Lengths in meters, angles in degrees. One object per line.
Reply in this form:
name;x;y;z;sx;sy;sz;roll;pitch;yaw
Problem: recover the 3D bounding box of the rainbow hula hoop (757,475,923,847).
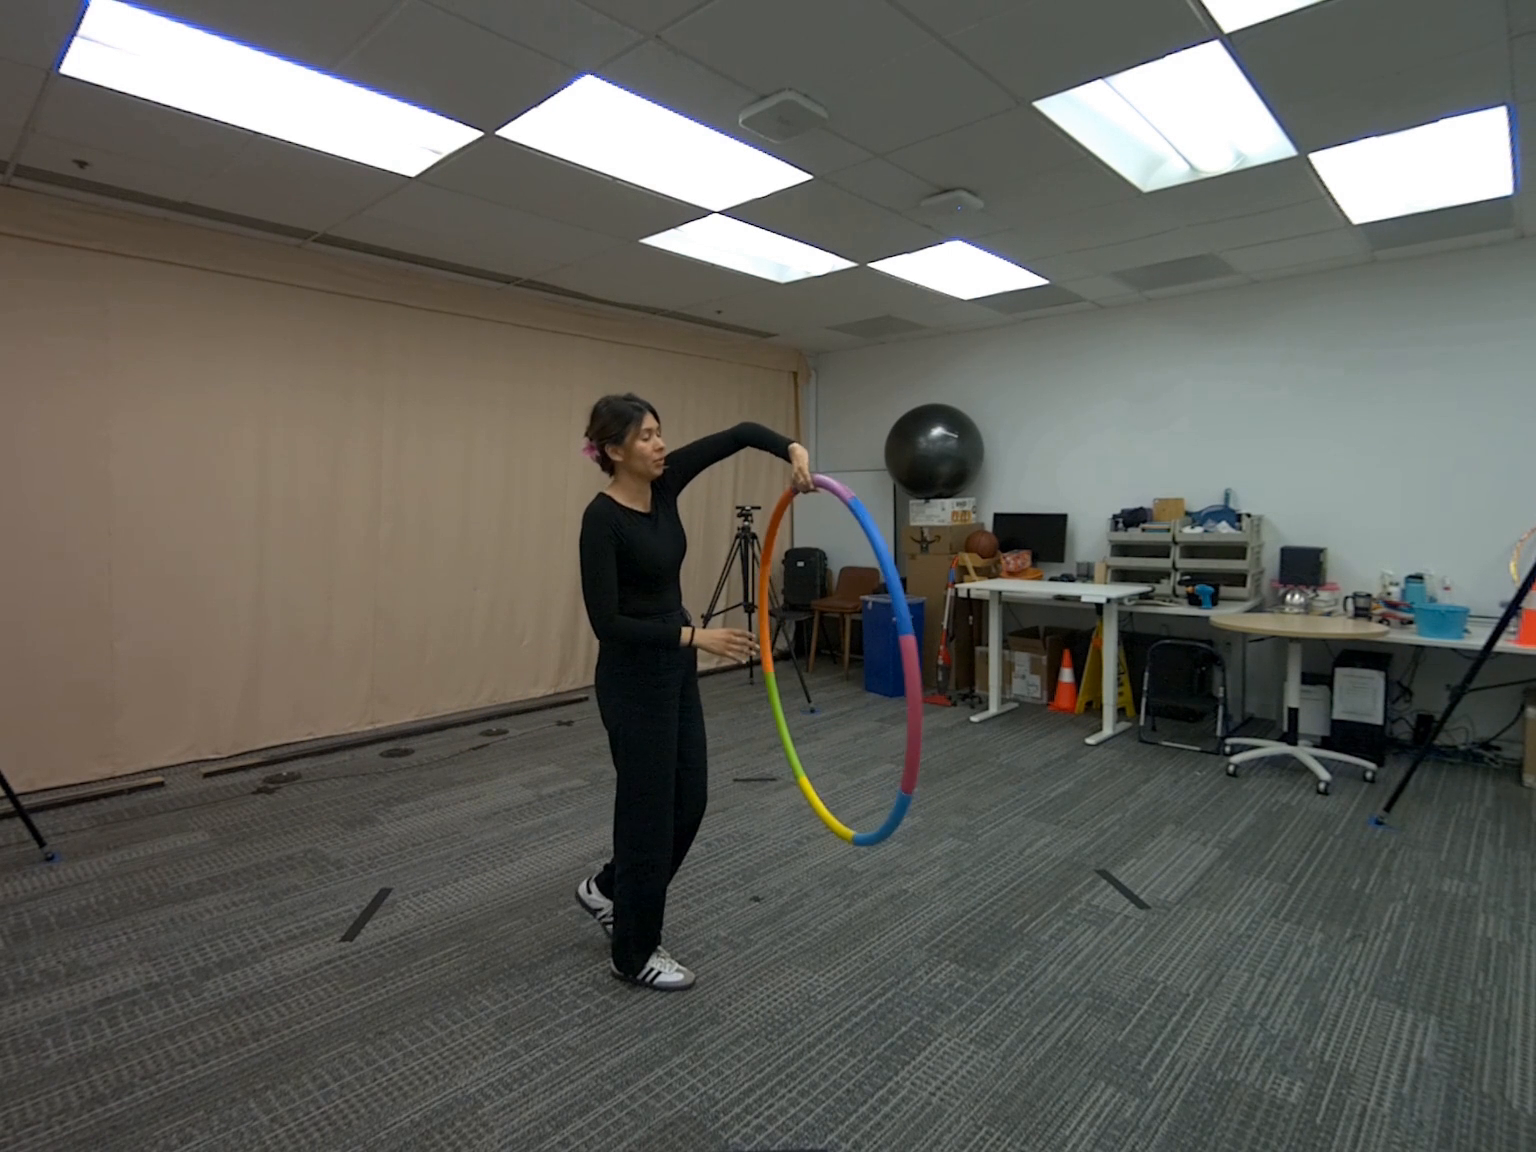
rainbow hula hoop;0.160;0.215;2.297;0.050;0.982;1.007;-6;5;-21
